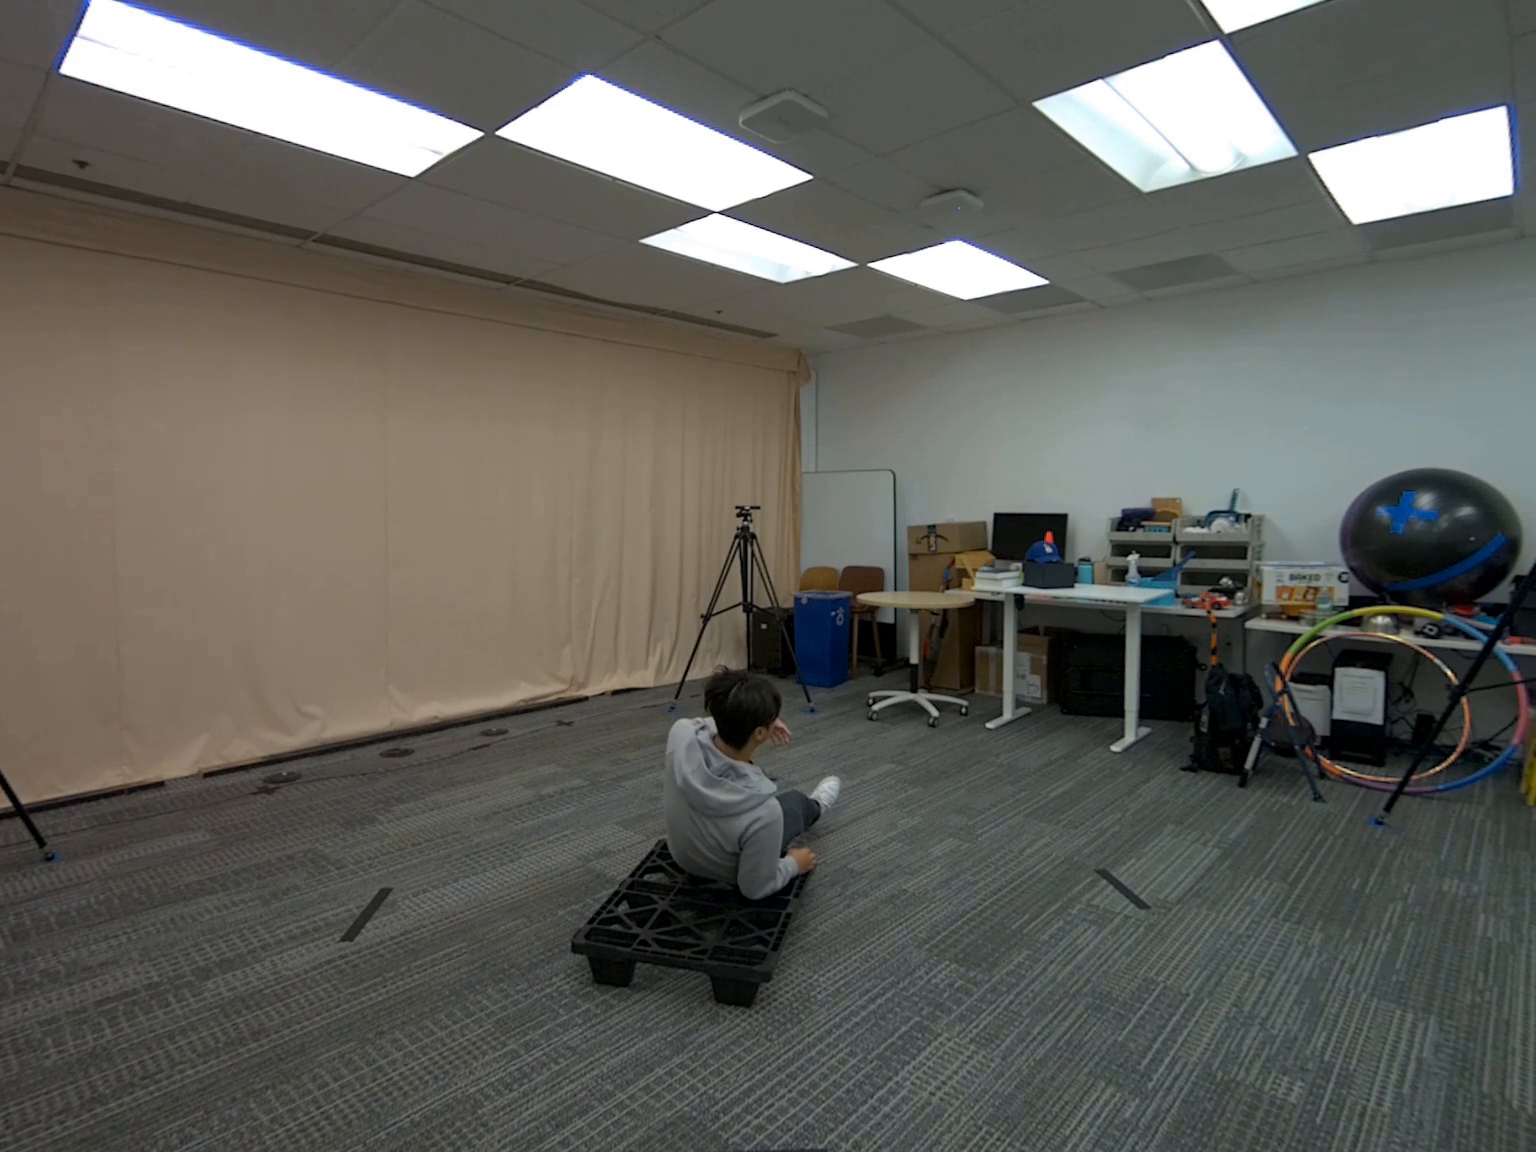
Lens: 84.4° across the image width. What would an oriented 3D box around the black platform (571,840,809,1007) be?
[{"bbox_3d":[-0.196,1.092,2.746,0.615,0.143,0.795,2,5,14],"label":"black platform"}]
